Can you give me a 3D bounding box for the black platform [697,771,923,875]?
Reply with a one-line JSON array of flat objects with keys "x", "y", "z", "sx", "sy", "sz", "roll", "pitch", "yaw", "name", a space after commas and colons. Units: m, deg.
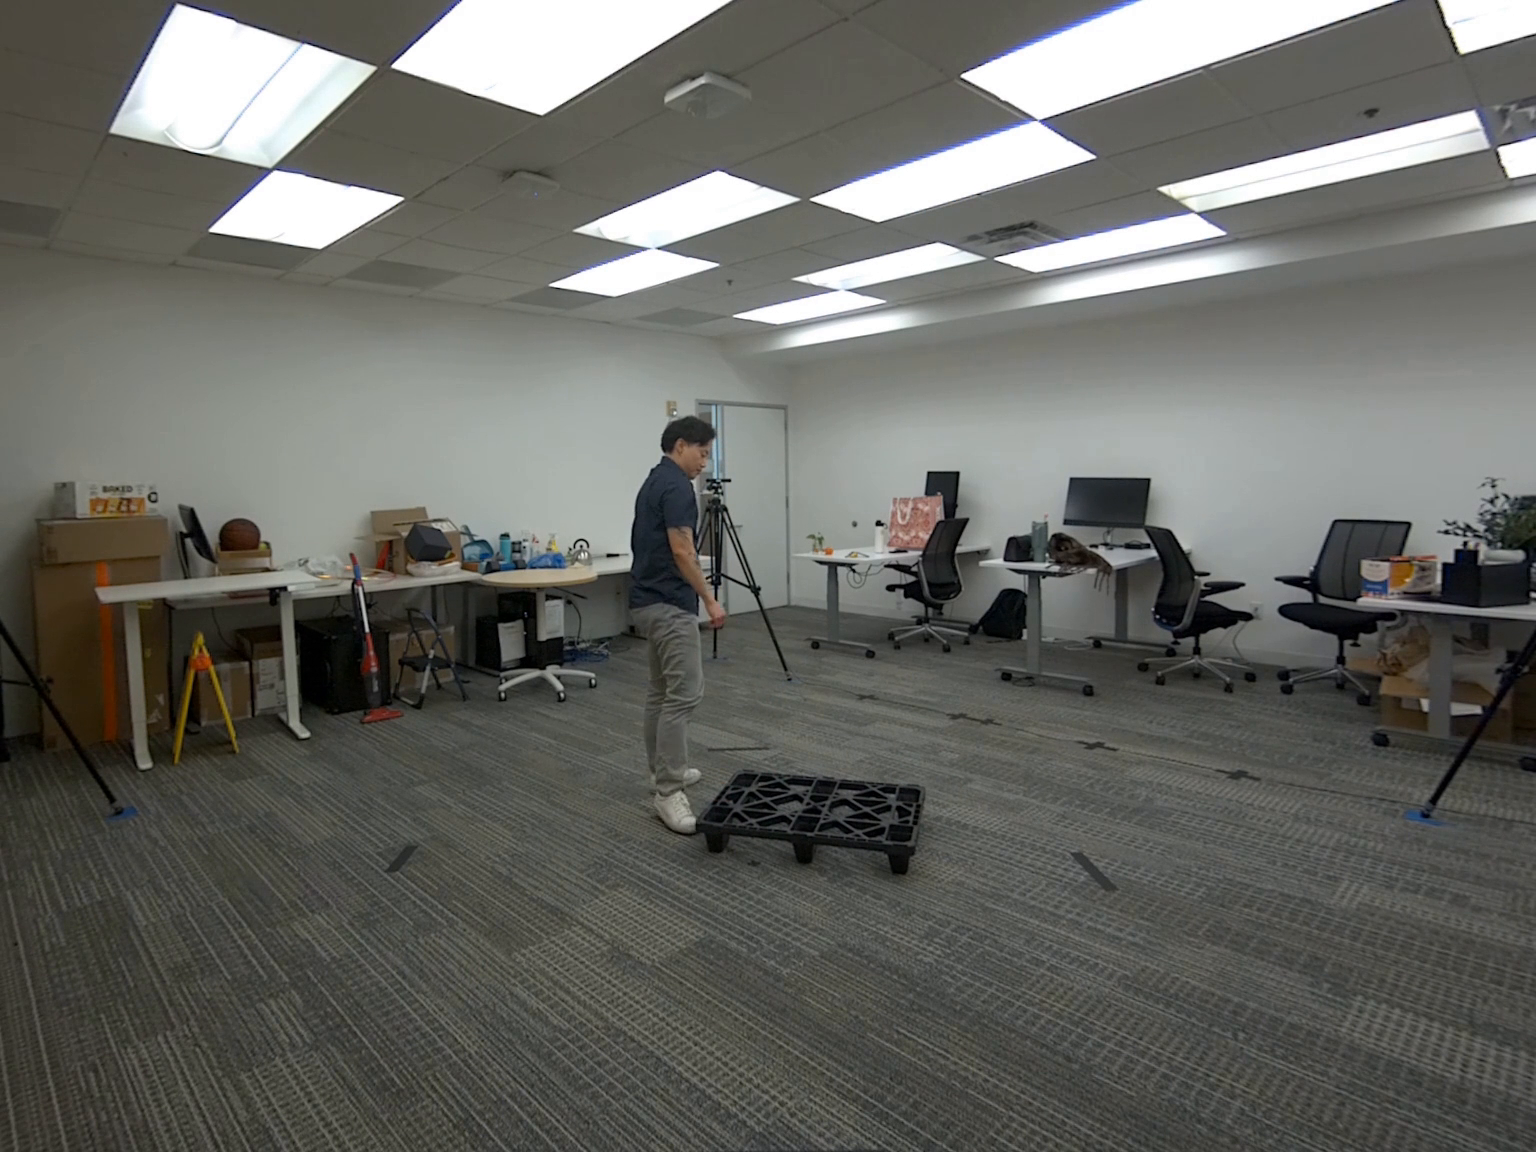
[{"x": 0.183, "y": 0.949, "z": 3.322, "sx": 0.818, "sy": 0.143, "sz": 0.598, "roll": 1, "pitch": 6, "yaw": 16, "name": "black platform"}]
